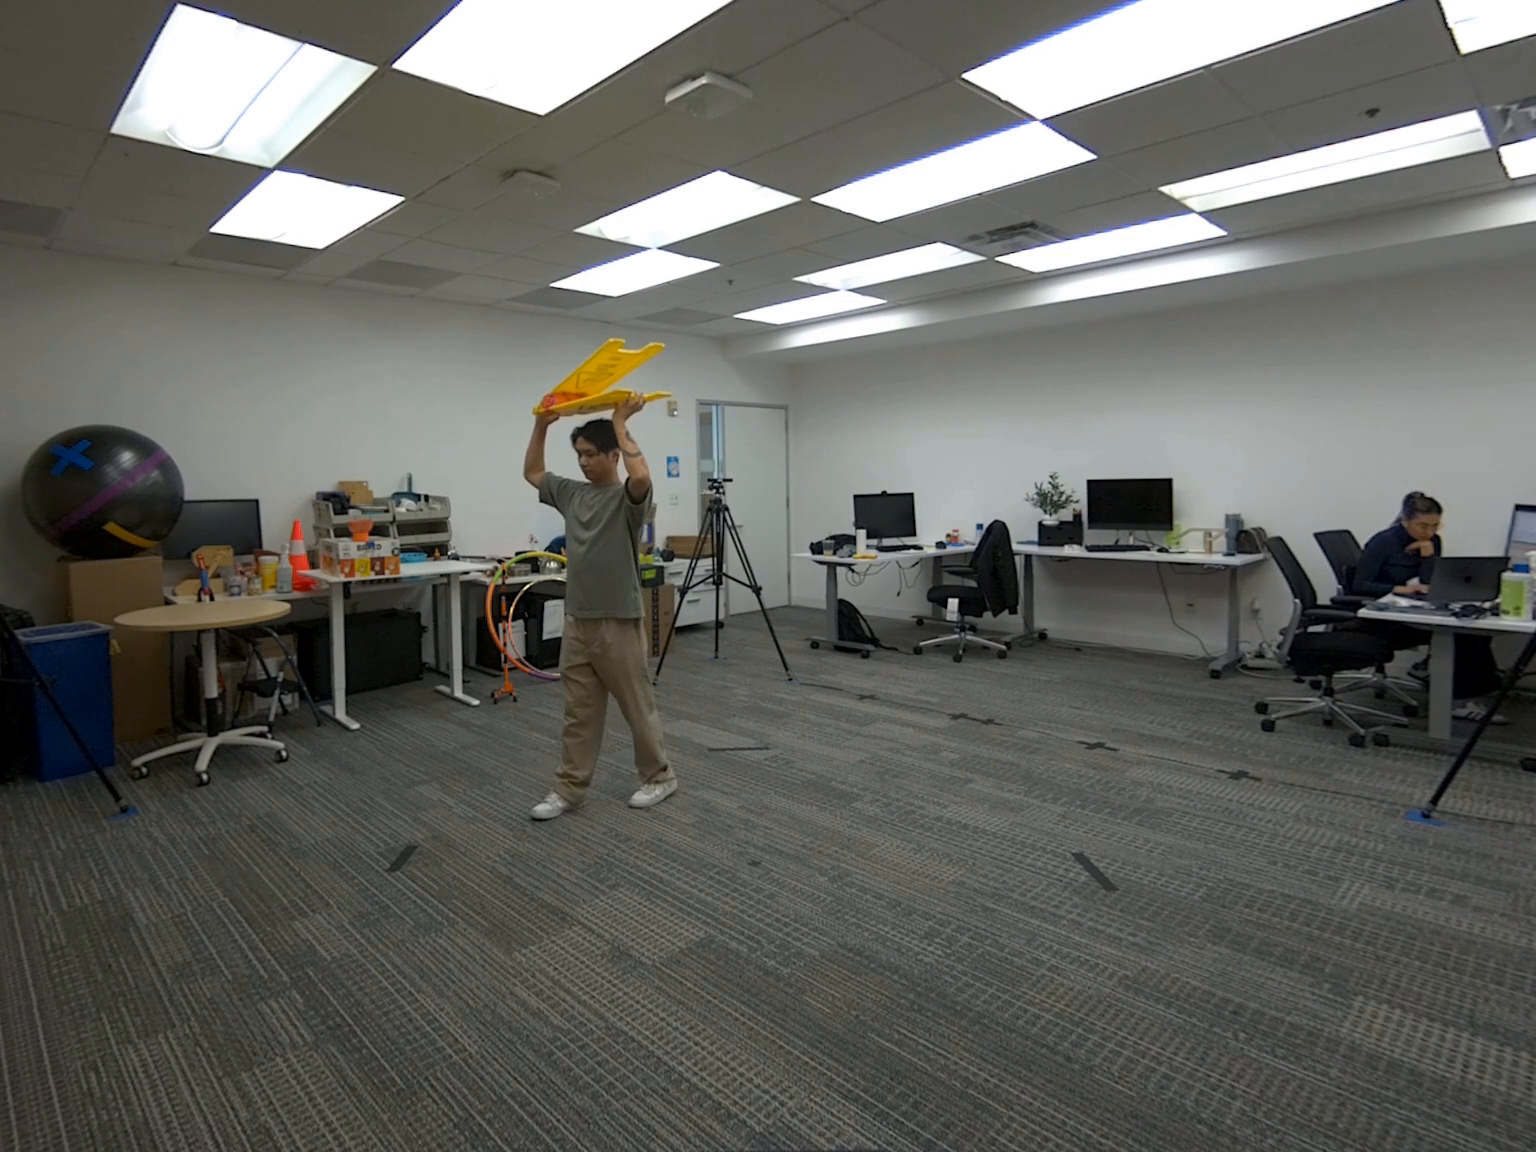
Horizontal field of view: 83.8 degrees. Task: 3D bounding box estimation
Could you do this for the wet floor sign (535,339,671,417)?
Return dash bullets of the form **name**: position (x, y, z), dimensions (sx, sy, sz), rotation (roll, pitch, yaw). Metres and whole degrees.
- **wet floor sign**: position (-0.729, -0.766, 3.530), dimensions (0.660, 0.290, 0.275), rotation (-11, -1, 42)
